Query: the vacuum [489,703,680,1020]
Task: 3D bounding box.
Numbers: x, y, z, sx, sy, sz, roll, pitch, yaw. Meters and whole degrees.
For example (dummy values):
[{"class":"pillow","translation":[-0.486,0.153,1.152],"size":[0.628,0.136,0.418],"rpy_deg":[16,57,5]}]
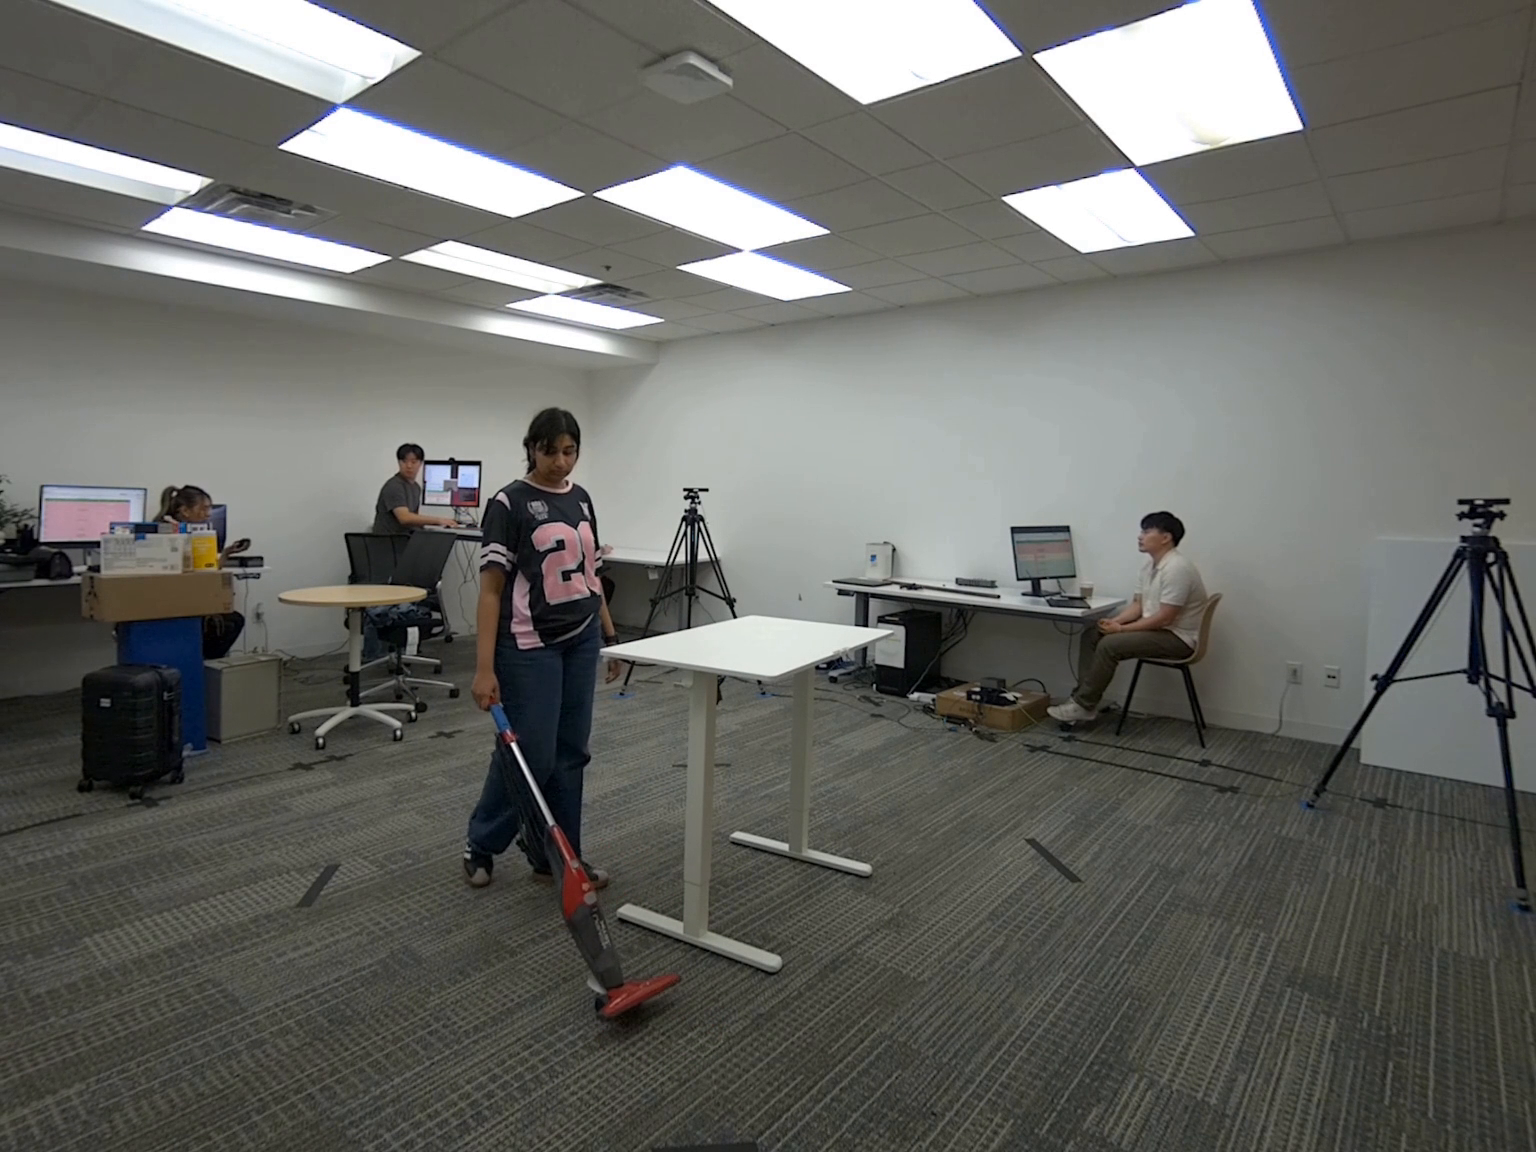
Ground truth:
[{"class":"vacuum","translation":[-0.651,0.758,2.489],"size":[0.244,0.143,1.089],"rpy_deg":[0,43,-48]}]
